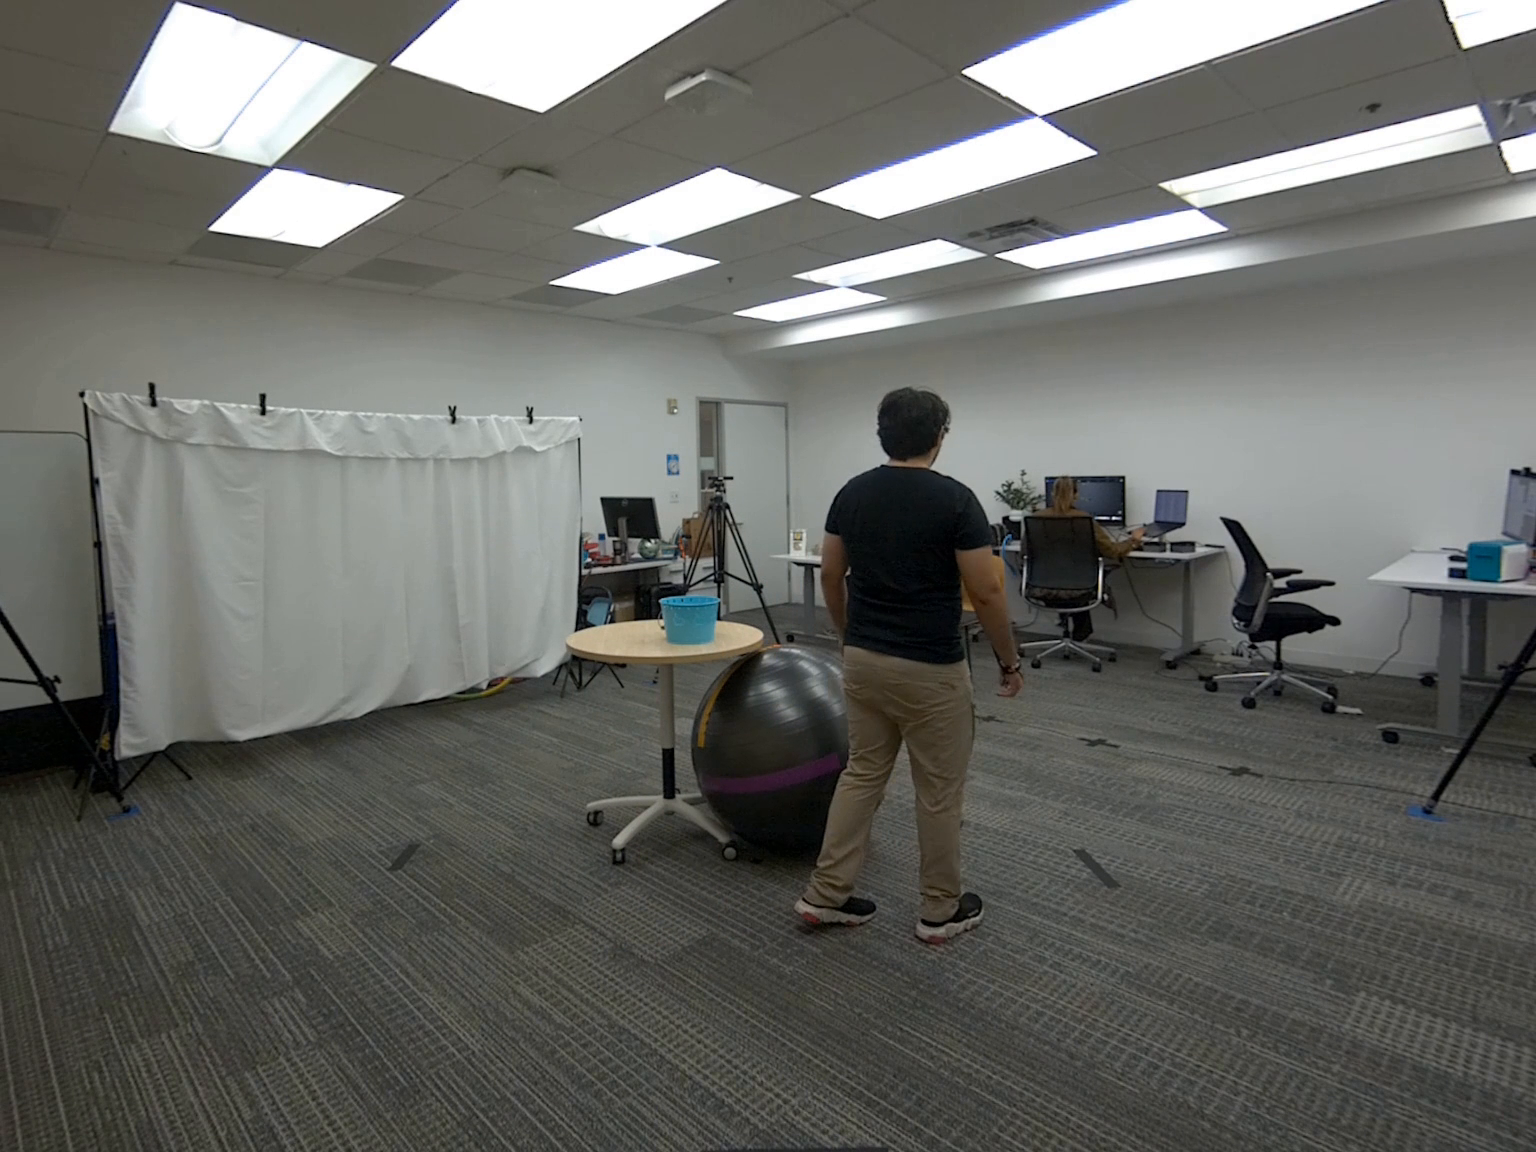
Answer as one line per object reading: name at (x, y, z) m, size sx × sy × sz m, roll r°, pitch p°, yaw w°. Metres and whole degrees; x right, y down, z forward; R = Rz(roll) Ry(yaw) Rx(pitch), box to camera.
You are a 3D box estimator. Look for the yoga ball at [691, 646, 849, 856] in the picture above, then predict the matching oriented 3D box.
yoga ball at (0.090, 0.649, 3.240) m, size 0.757 × 0.755 × 0.762 m, roll -1°, pitch 5°, yaw -2°
